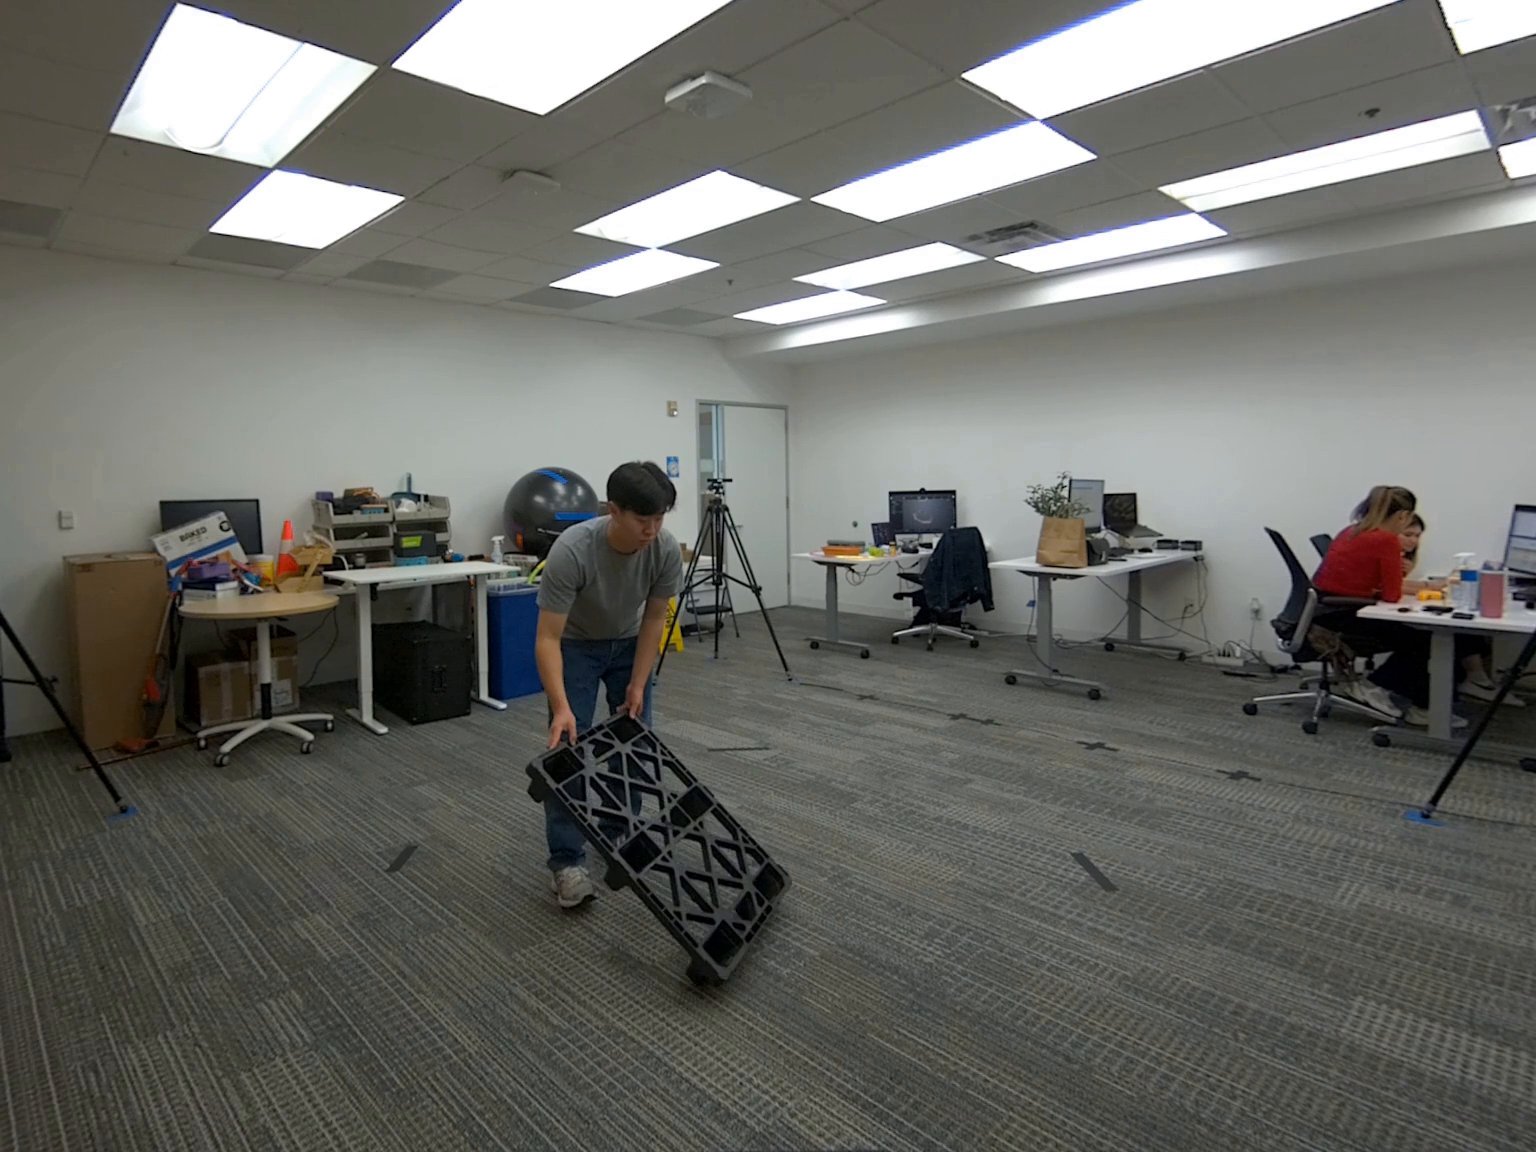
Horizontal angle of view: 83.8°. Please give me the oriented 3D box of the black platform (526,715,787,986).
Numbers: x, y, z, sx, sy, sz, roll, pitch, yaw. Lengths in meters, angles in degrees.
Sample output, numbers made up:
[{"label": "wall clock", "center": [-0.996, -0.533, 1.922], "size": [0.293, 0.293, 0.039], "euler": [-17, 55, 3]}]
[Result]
[{"label": "black platform", "center": [-0.332, 0.811, 2.644], "size": [0.820, 0.143, 0.596], "euler": [43, 18, 12]}]
